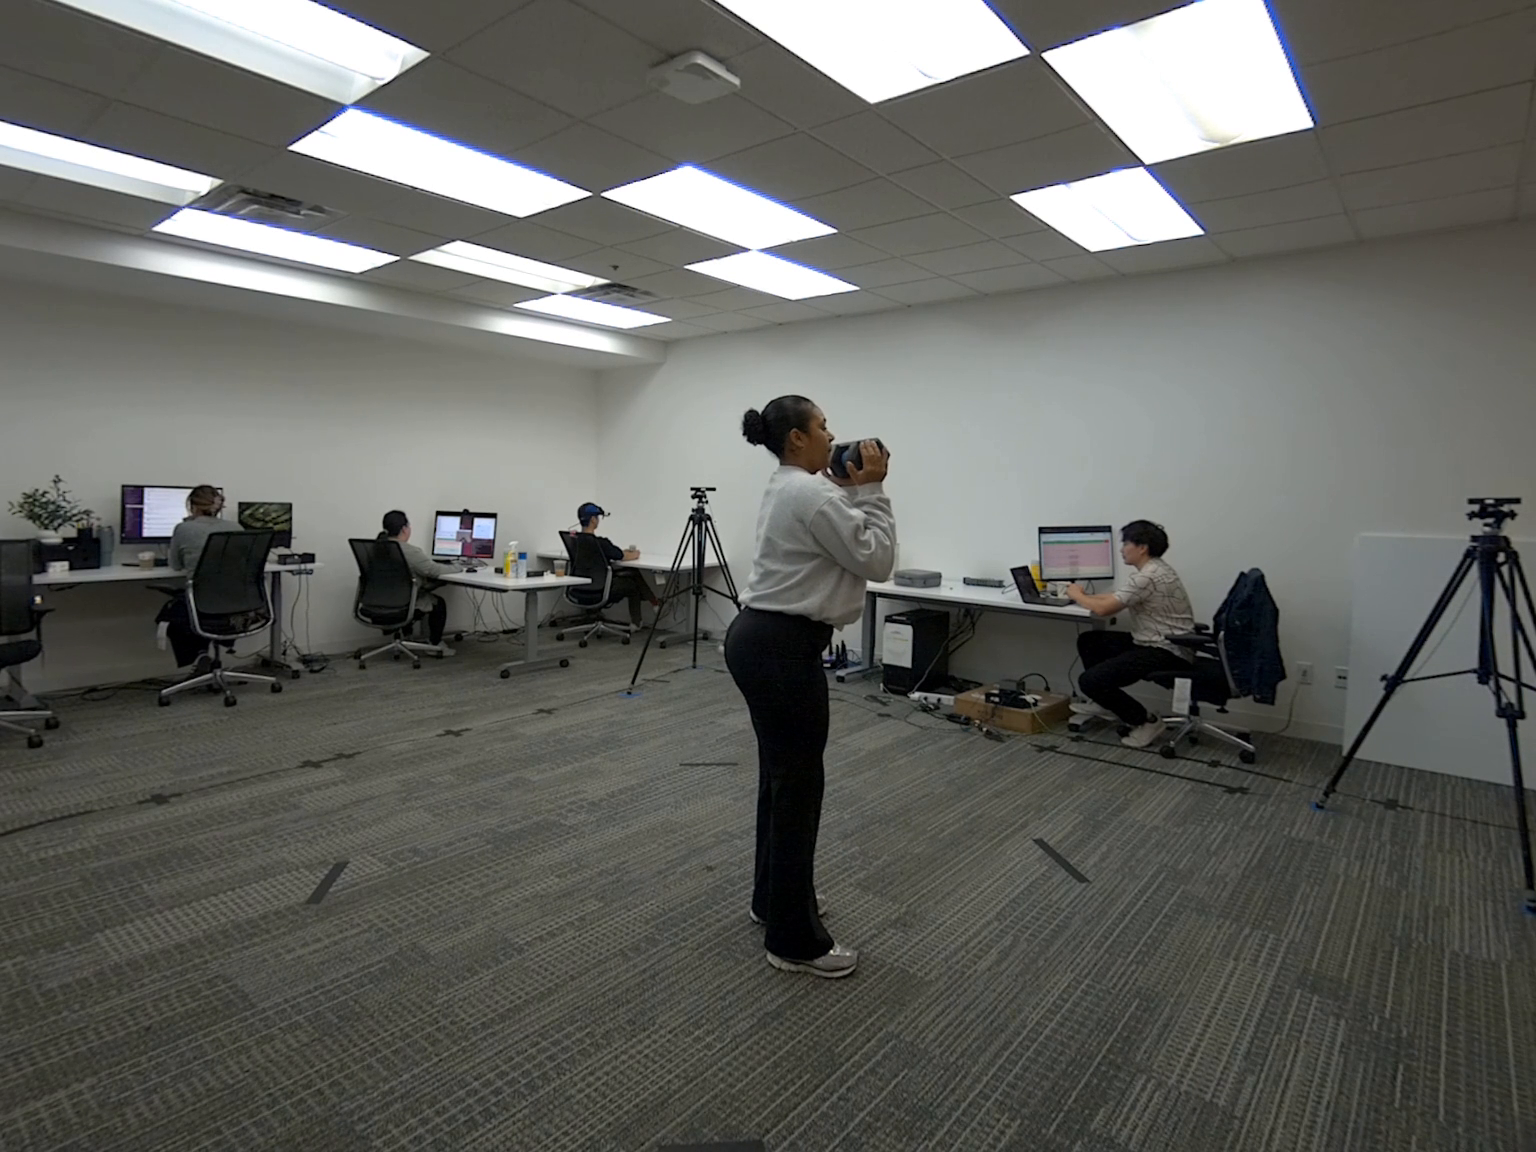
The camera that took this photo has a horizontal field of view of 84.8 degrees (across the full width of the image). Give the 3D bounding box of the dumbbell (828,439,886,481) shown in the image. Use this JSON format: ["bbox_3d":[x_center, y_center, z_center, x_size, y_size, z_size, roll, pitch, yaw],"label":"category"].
[{"bbox_3d":[0.256,-0.351,2.586,0.108,0.121,0.297,-42,11,-3],"label":"dumbbell"}]
